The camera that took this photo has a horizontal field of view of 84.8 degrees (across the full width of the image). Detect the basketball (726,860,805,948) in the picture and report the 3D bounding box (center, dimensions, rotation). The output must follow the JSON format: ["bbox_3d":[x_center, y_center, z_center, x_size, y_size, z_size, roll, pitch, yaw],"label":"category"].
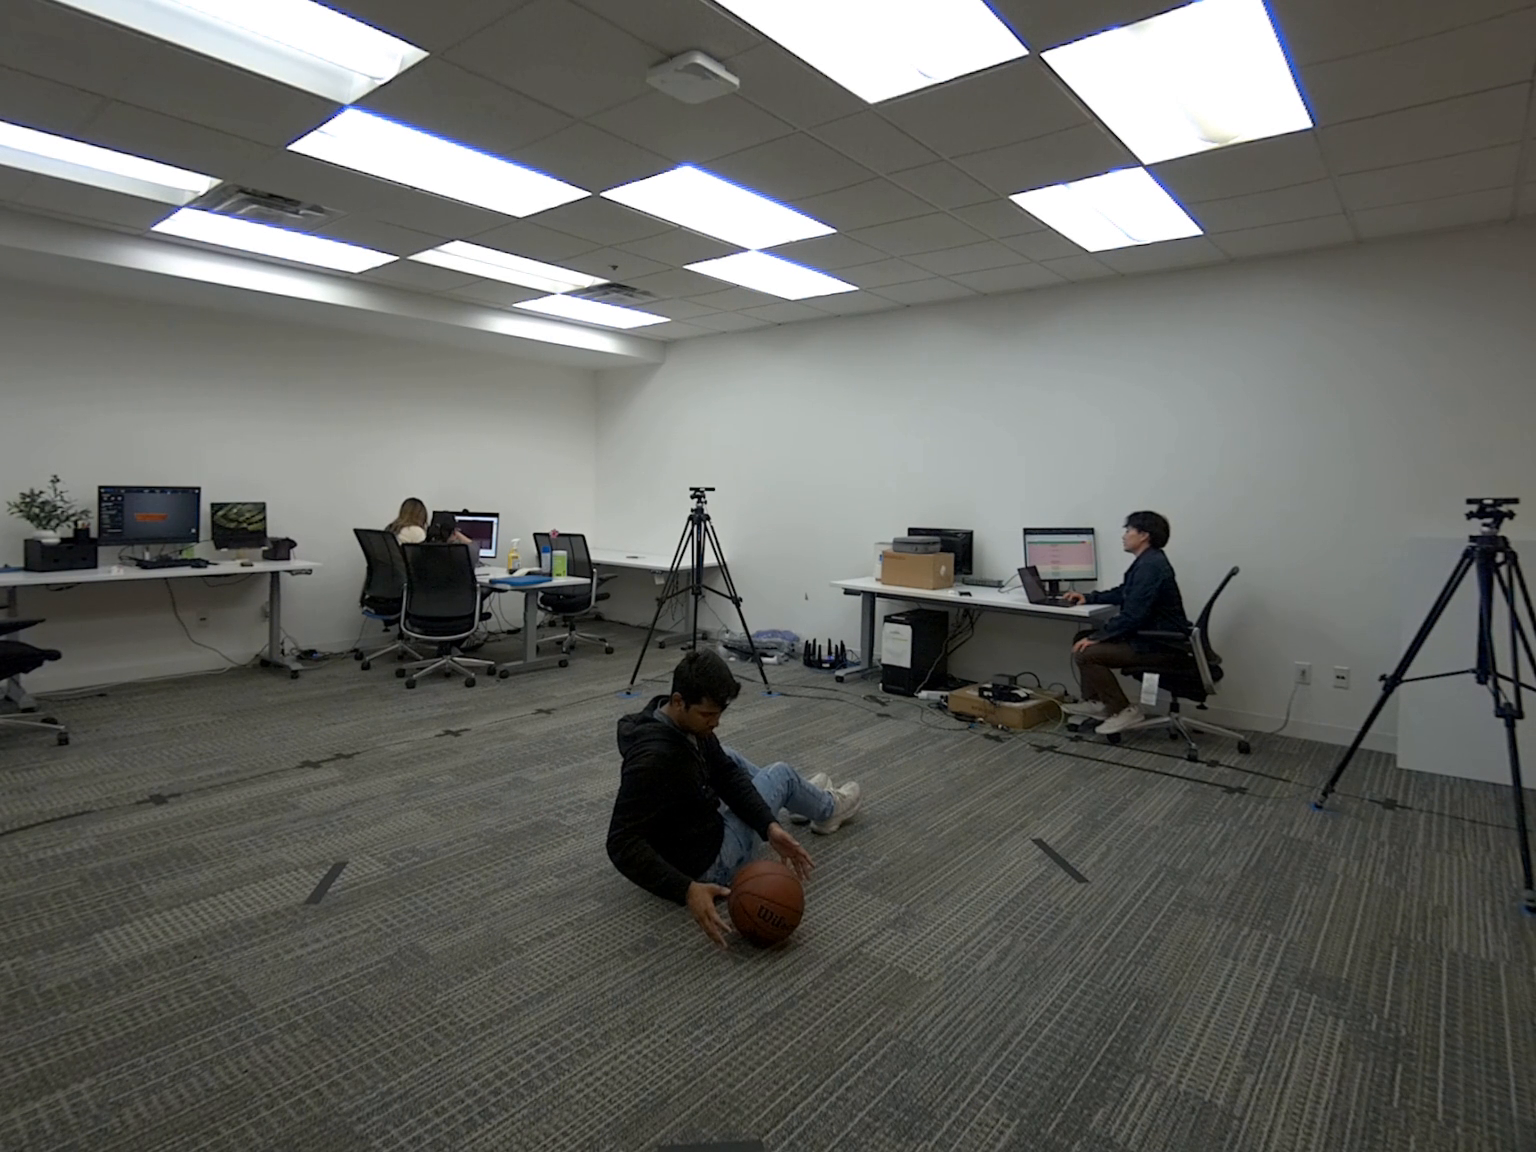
[{"bbox_3d":[-0.016,1.002,2.616,0.235,0.235,0.237,1,4,-2],"label":"basketball"}]
